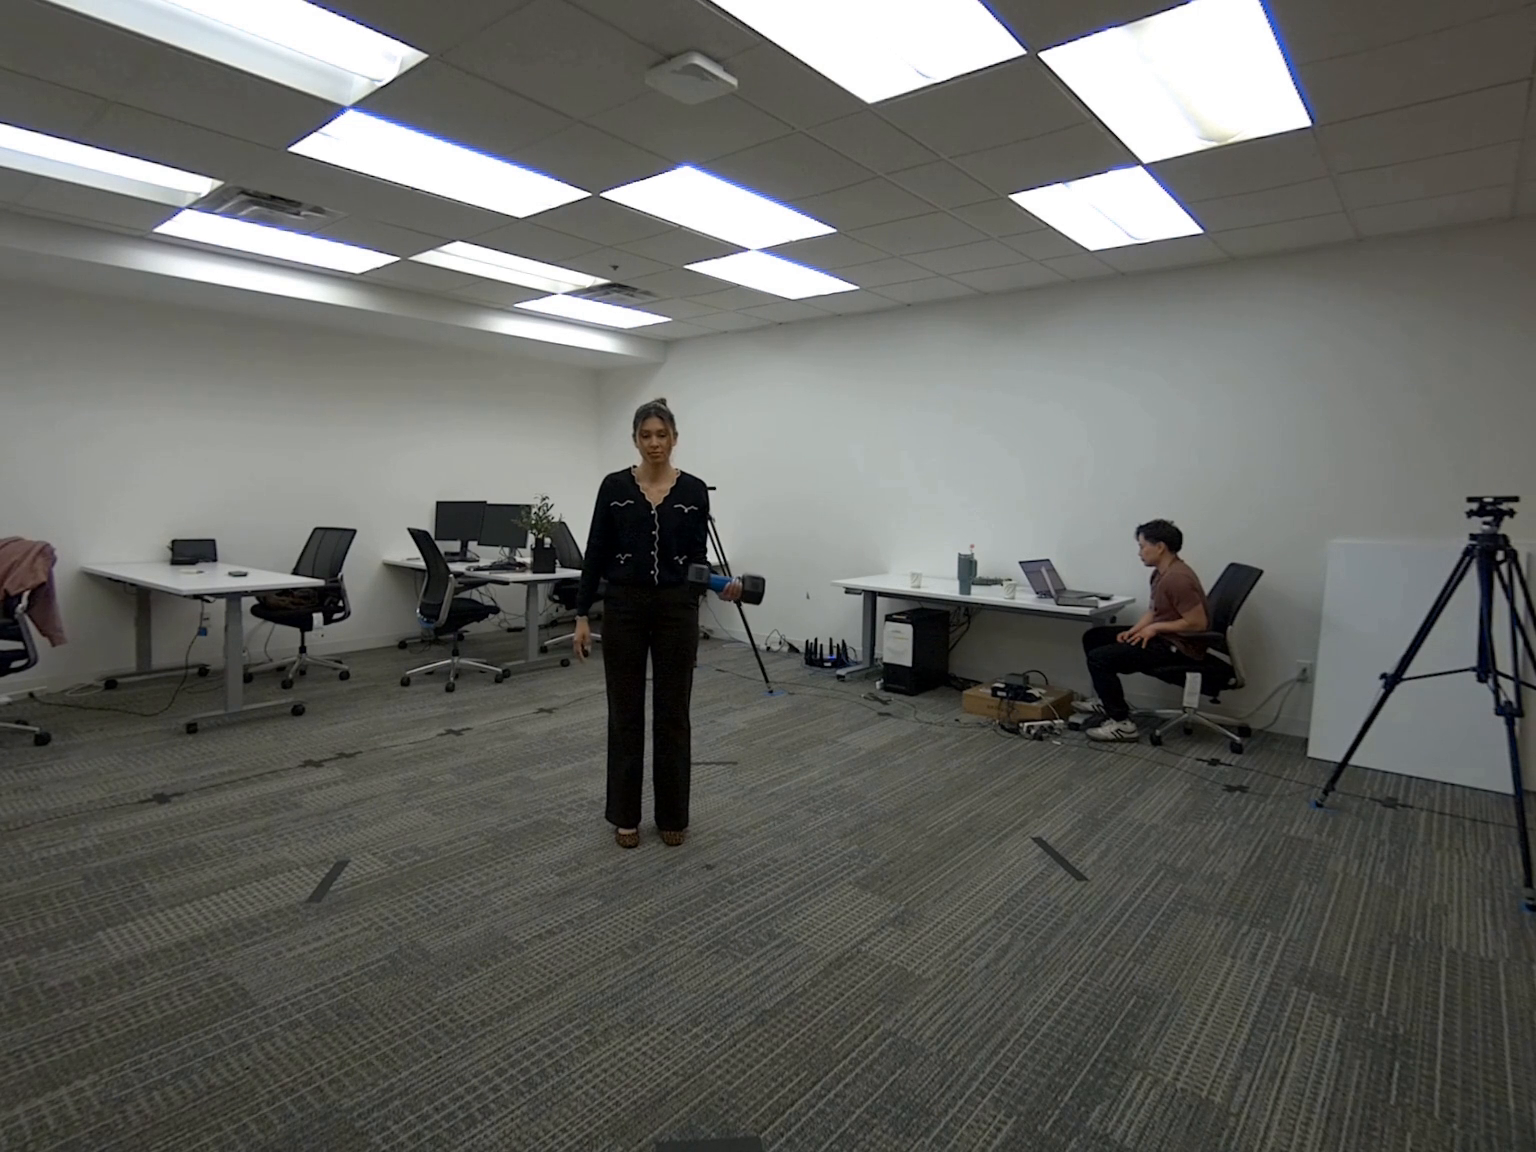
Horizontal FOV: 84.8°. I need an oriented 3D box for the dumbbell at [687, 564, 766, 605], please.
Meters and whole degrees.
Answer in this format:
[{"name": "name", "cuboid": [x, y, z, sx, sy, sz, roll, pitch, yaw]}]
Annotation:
[{"name": "dumbbell", "cuboid": [-0.168, 0.015, 3.160, 0.290, 0.108, 0.125, 6, 6, -10]}]
